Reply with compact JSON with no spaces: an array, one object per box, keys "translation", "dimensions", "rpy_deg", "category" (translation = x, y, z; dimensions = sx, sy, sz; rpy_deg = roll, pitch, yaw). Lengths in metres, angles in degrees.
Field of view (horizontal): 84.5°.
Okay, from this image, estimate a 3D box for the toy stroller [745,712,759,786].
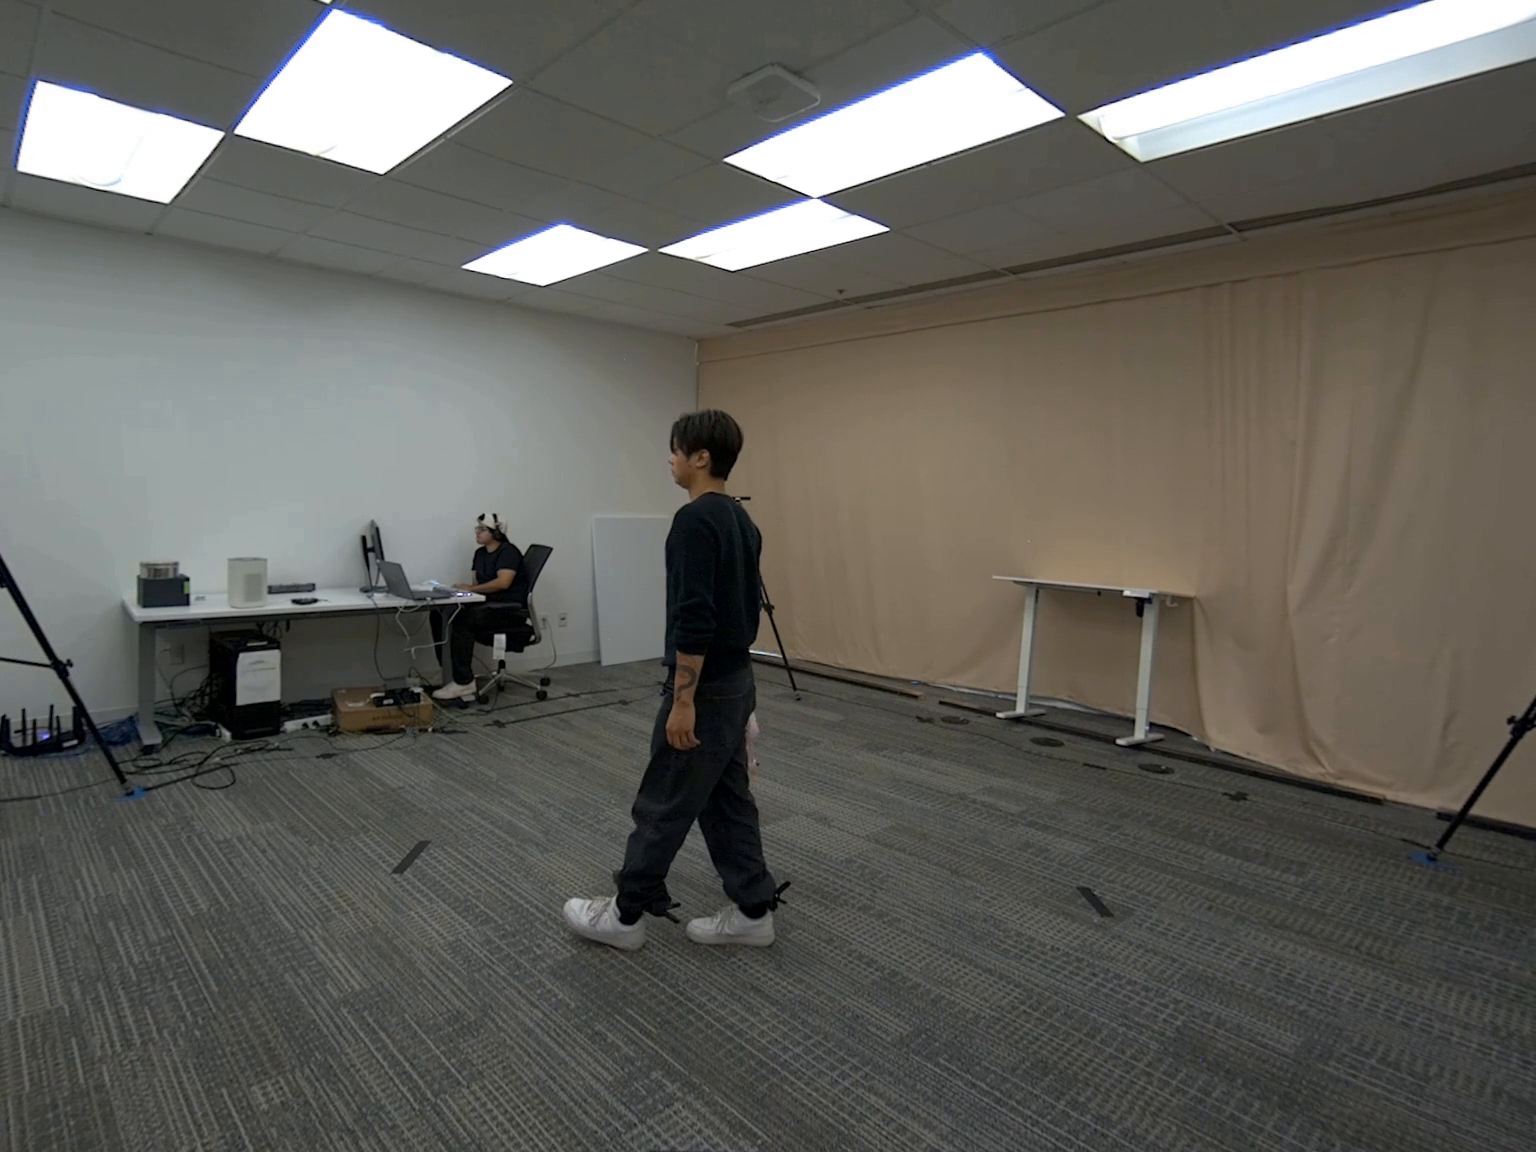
[{"translation":[-0.160,0.678,3.020],"dimensions":[0.285,0.539,0.334],"rpy_deg":[1,-11,15],"category":"toy stroller"}]
